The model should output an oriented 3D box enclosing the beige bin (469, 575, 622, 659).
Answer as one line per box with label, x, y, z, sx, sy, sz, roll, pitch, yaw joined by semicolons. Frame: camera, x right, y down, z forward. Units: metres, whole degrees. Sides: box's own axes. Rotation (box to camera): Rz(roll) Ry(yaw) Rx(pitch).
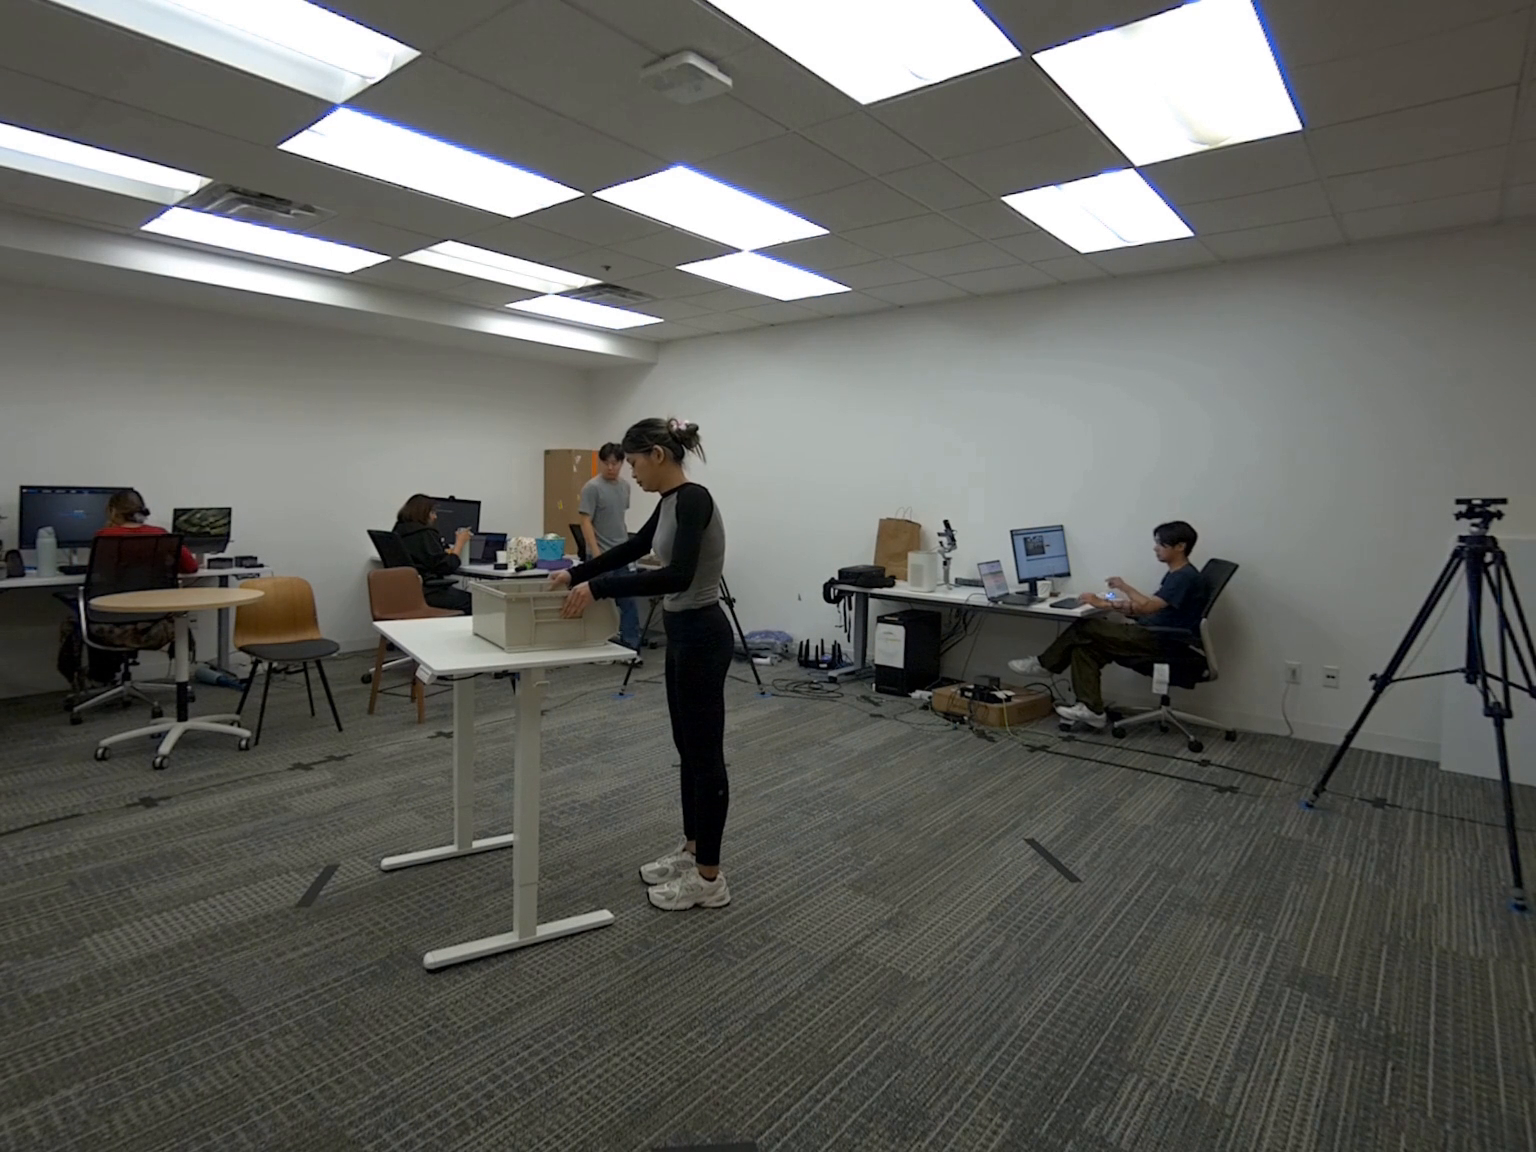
beige bin;-0.750;0.118;2.800;0.368;0.188;0.435;-6;8;-31
